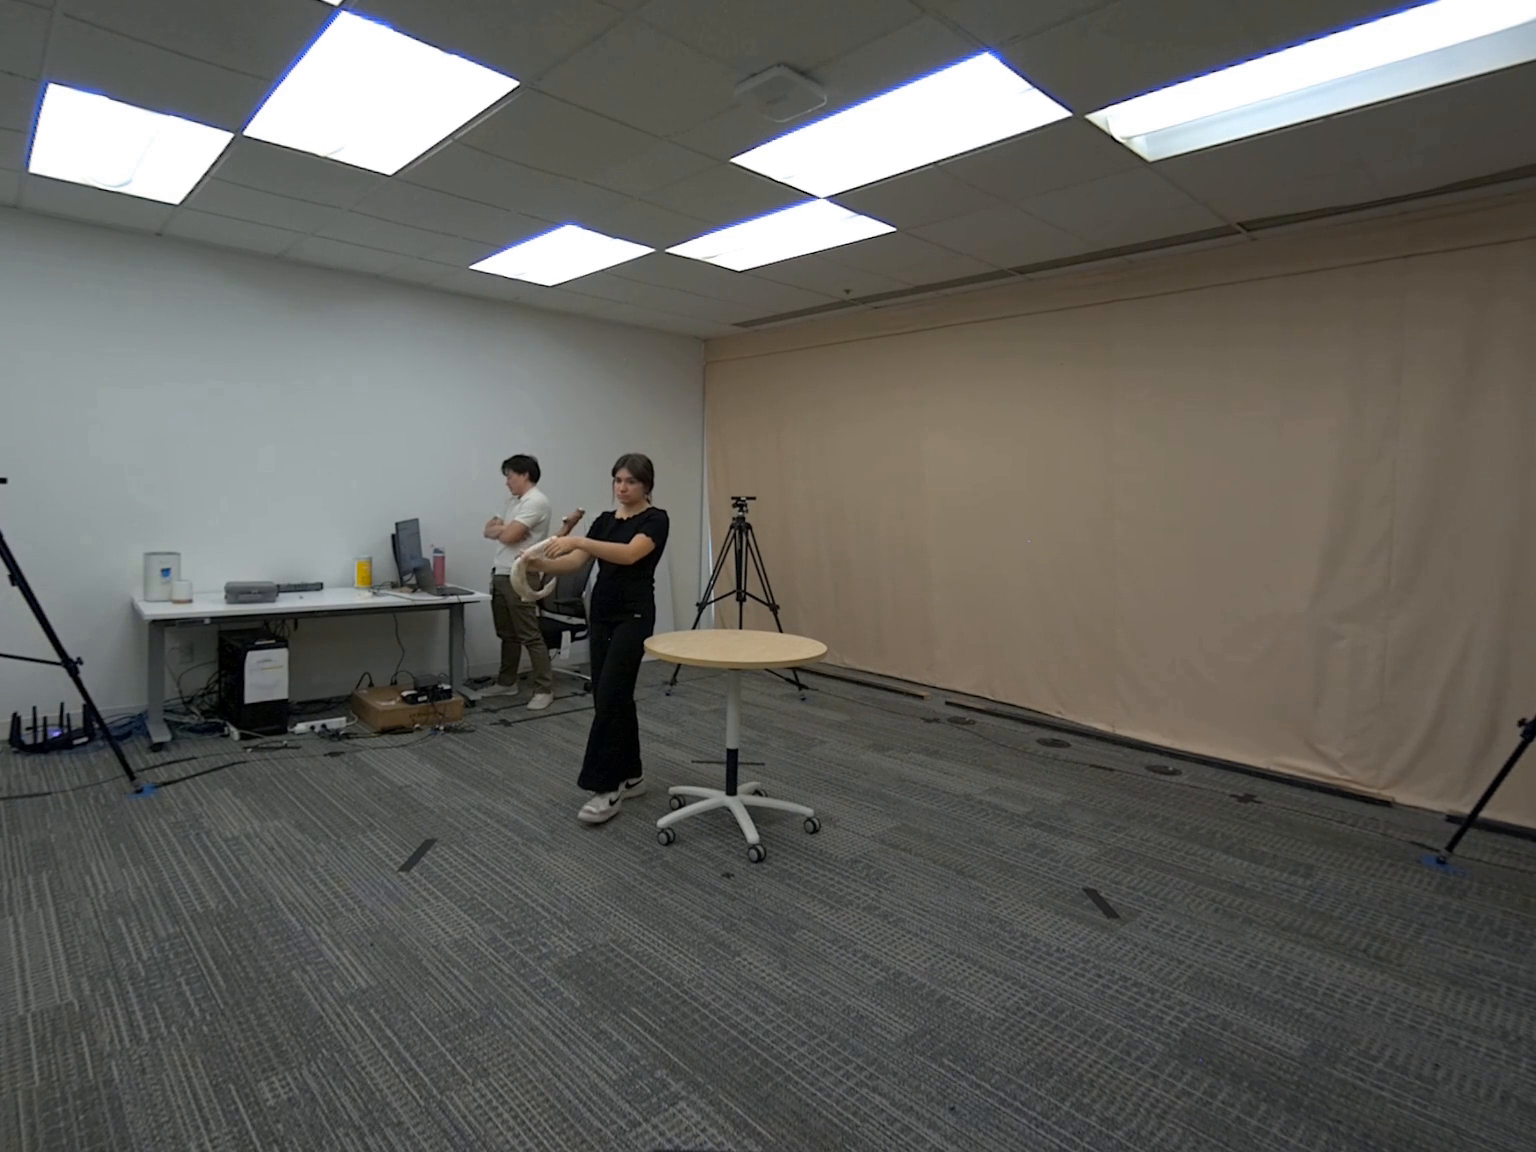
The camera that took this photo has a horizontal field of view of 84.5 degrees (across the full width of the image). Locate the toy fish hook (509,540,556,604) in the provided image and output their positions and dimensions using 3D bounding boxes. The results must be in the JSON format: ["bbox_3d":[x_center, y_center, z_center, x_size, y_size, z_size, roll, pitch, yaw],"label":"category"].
[{"bbox_3d":[-0.938,-0.096,3.632,0.049,0.218,0.509,5,43,31],"label":"toy fish hook"}]
